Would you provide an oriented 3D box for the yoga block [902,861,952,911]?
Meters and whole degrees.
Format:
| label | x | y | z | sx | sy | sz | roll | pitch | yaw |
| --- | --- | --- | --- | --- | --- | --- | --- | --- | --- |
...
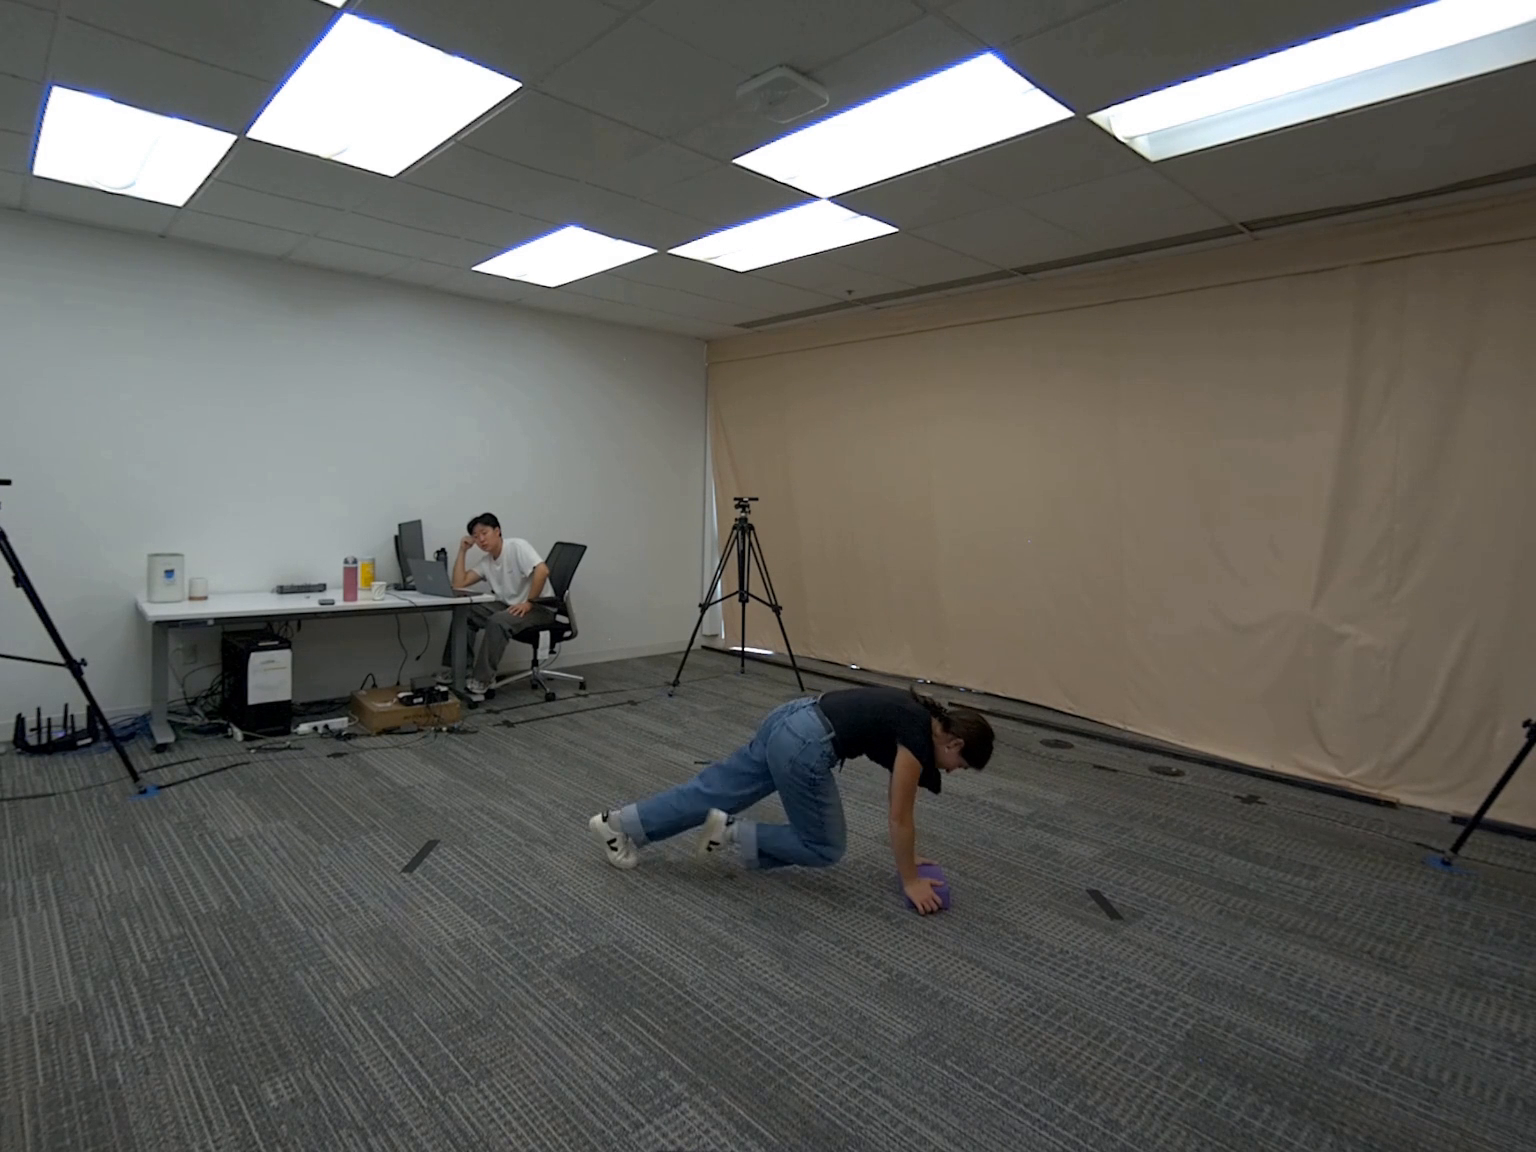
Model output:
| label | x | y | z | sx | sy | sz | roll | pitch | yaw |
| --- | --- | --- | --- | --- | --- | --- | --- | --- | --- |
| yoga block | 0.548 | 1.100 | 2.987 | 0.149 | 0.076 | 0.229 | 0 | 4 | 2 |
